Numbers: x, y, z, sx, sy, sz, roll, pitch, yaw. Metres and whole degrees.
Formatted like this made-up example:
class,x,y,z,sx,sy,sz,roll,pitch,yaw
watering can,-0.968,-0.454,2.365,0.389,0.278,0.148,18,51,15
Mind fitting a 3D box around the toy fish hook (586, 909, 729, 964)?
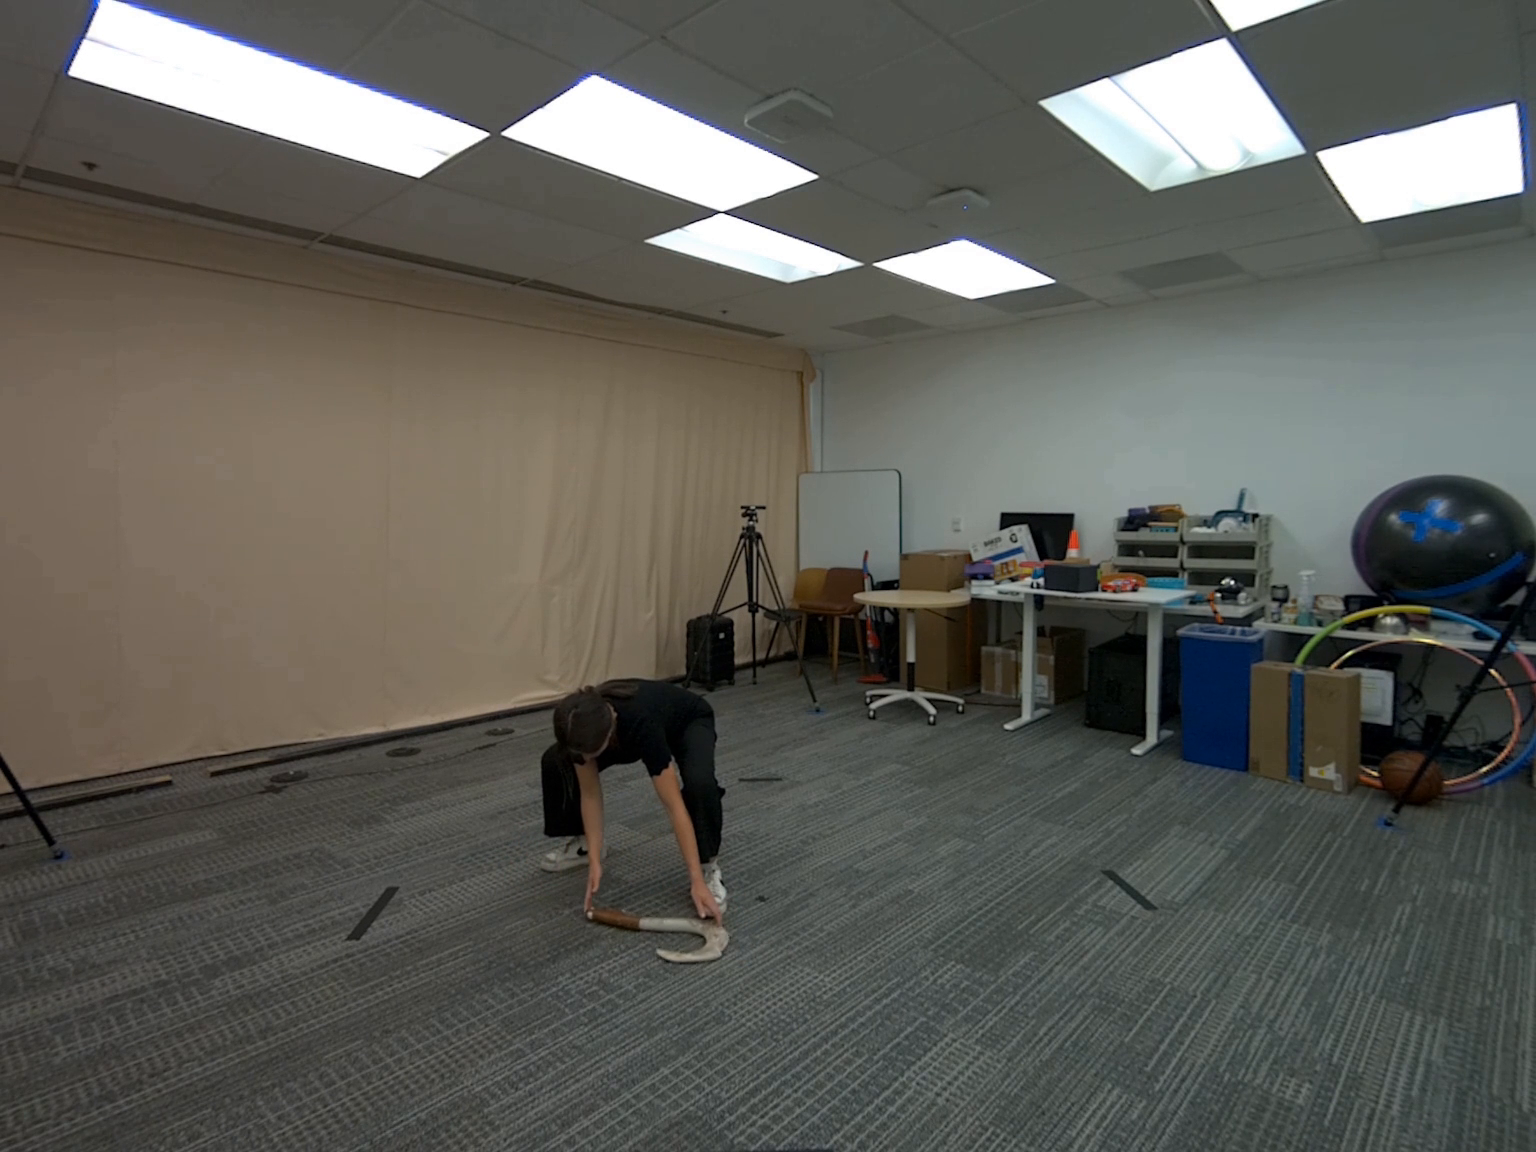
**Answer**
class,x,y,z,sx,sy,sz,roll,pitch,yaw
toy fish hook,-0.381,1.147,2.705,0.517,0.048,0.220,1,3,18
